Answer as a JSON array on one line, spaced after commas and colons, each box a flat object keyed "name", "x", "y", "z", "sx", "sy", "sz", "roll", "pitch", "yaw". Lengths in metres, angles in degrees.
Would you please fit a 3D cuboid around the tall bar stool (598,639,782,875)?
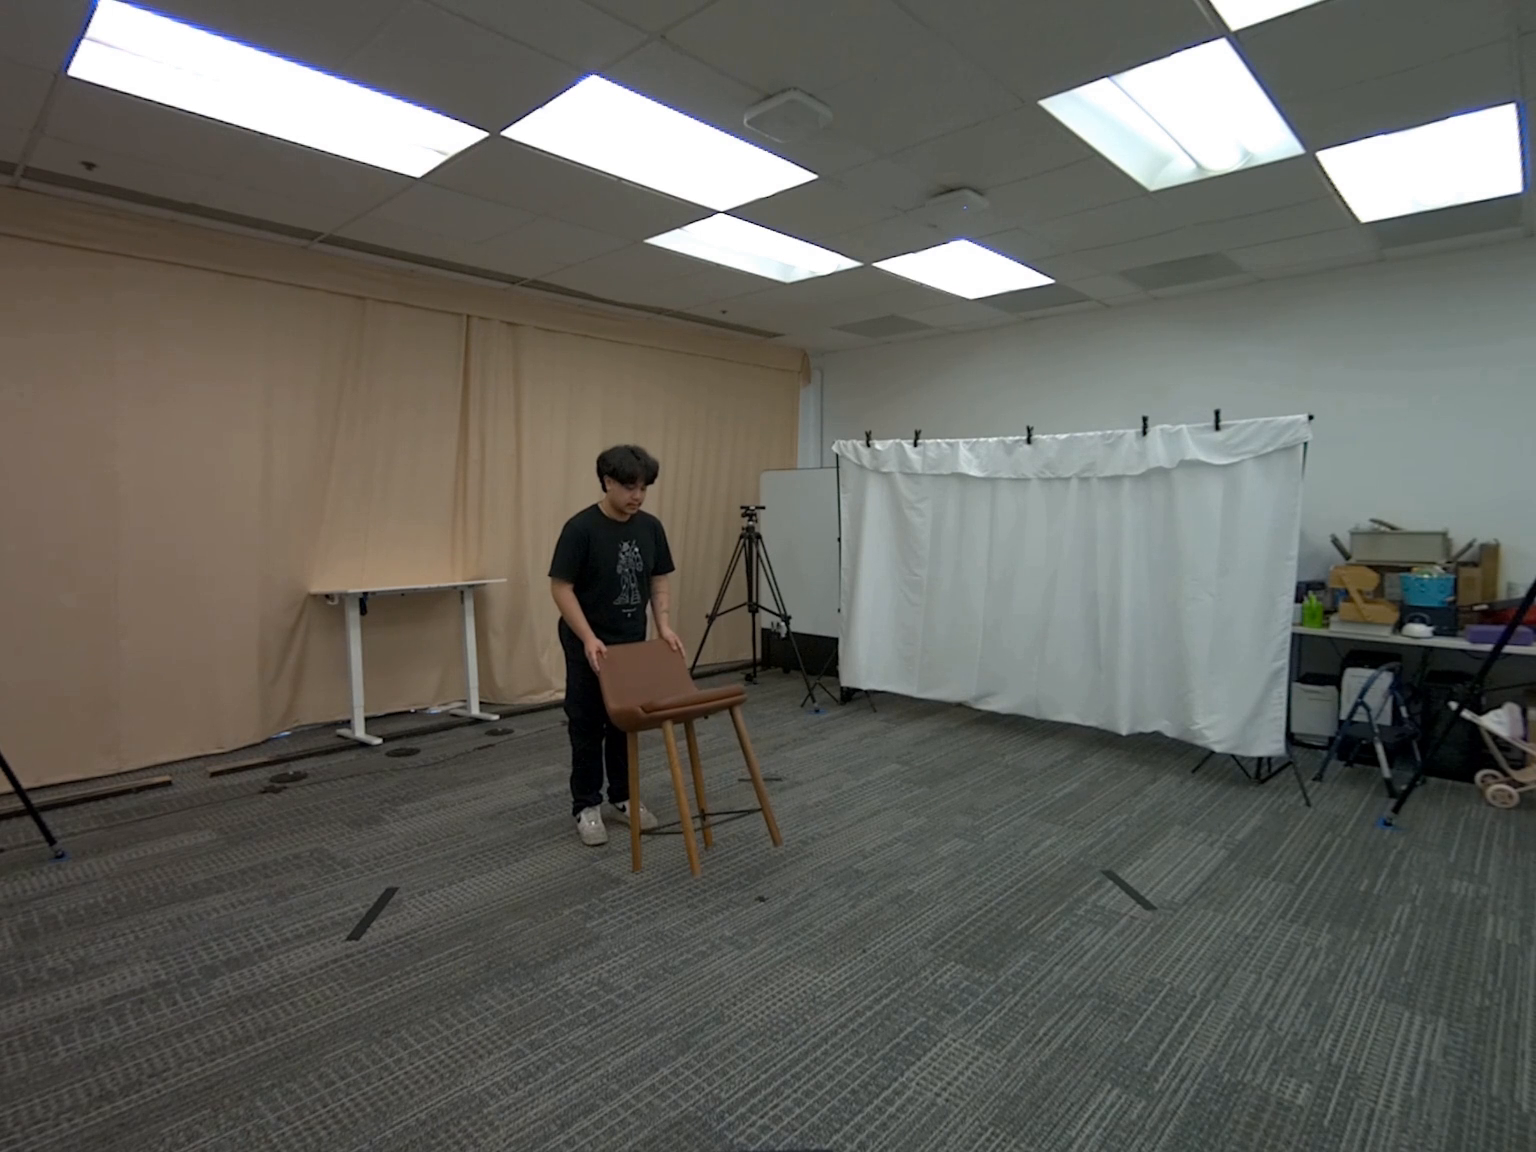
[{"name": "tall bar stool", "x": -0.331, "y": 0.646, "z": 3.243, "sx": 0.443, "sy": 0.899, "sz": 0.477, "roll": -3, "pitch": -15, "yaw": -39}]
